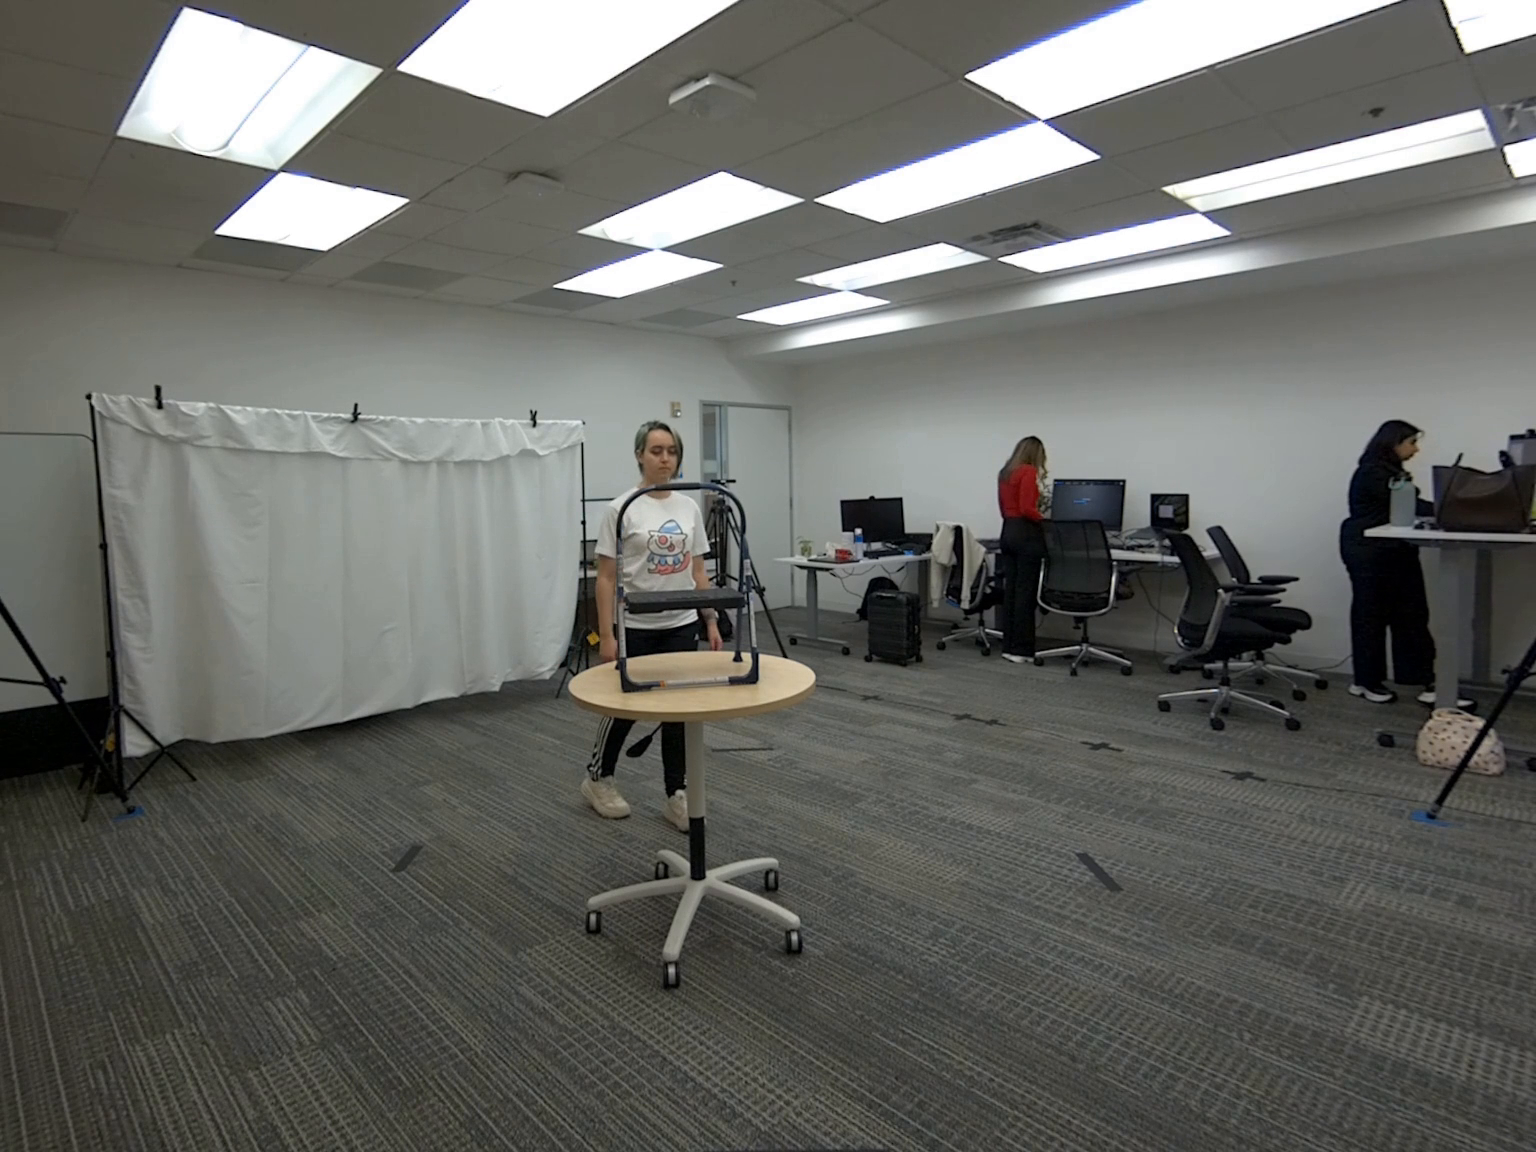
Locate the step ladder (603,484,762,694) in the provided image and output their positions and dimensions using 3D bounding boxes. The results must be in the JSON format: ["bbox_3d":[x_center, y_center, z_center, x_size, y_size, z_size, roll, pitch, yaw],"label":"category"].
[{"bbox_3d":[-0.266,0.013,2.676,0.426,0.603,0.354,-2,5,-11],"label":"step ladder"}]
